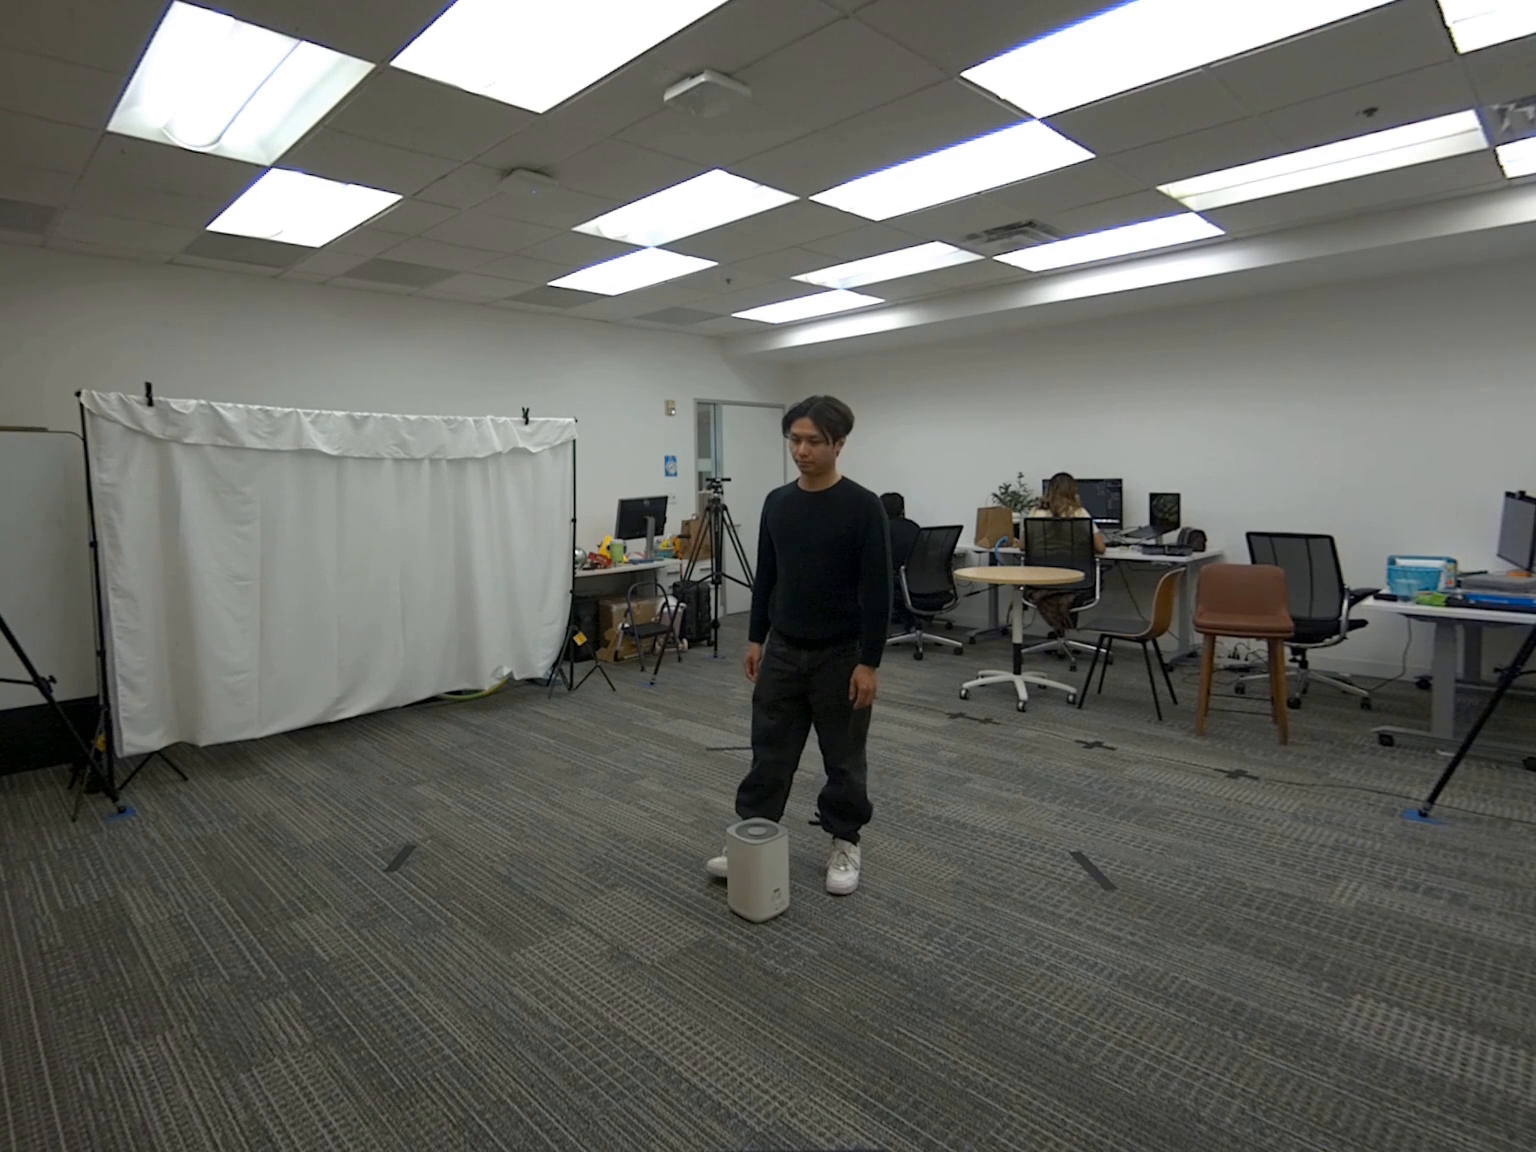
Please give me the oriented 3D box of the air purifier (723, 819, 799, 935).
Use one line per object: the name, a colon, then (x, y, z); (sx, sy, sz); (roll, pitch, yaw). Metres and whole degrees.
air purifier: (-0.024, 0.958, 2.753); (0.166, 0.264, 0.177); (-5, 7, -43)
